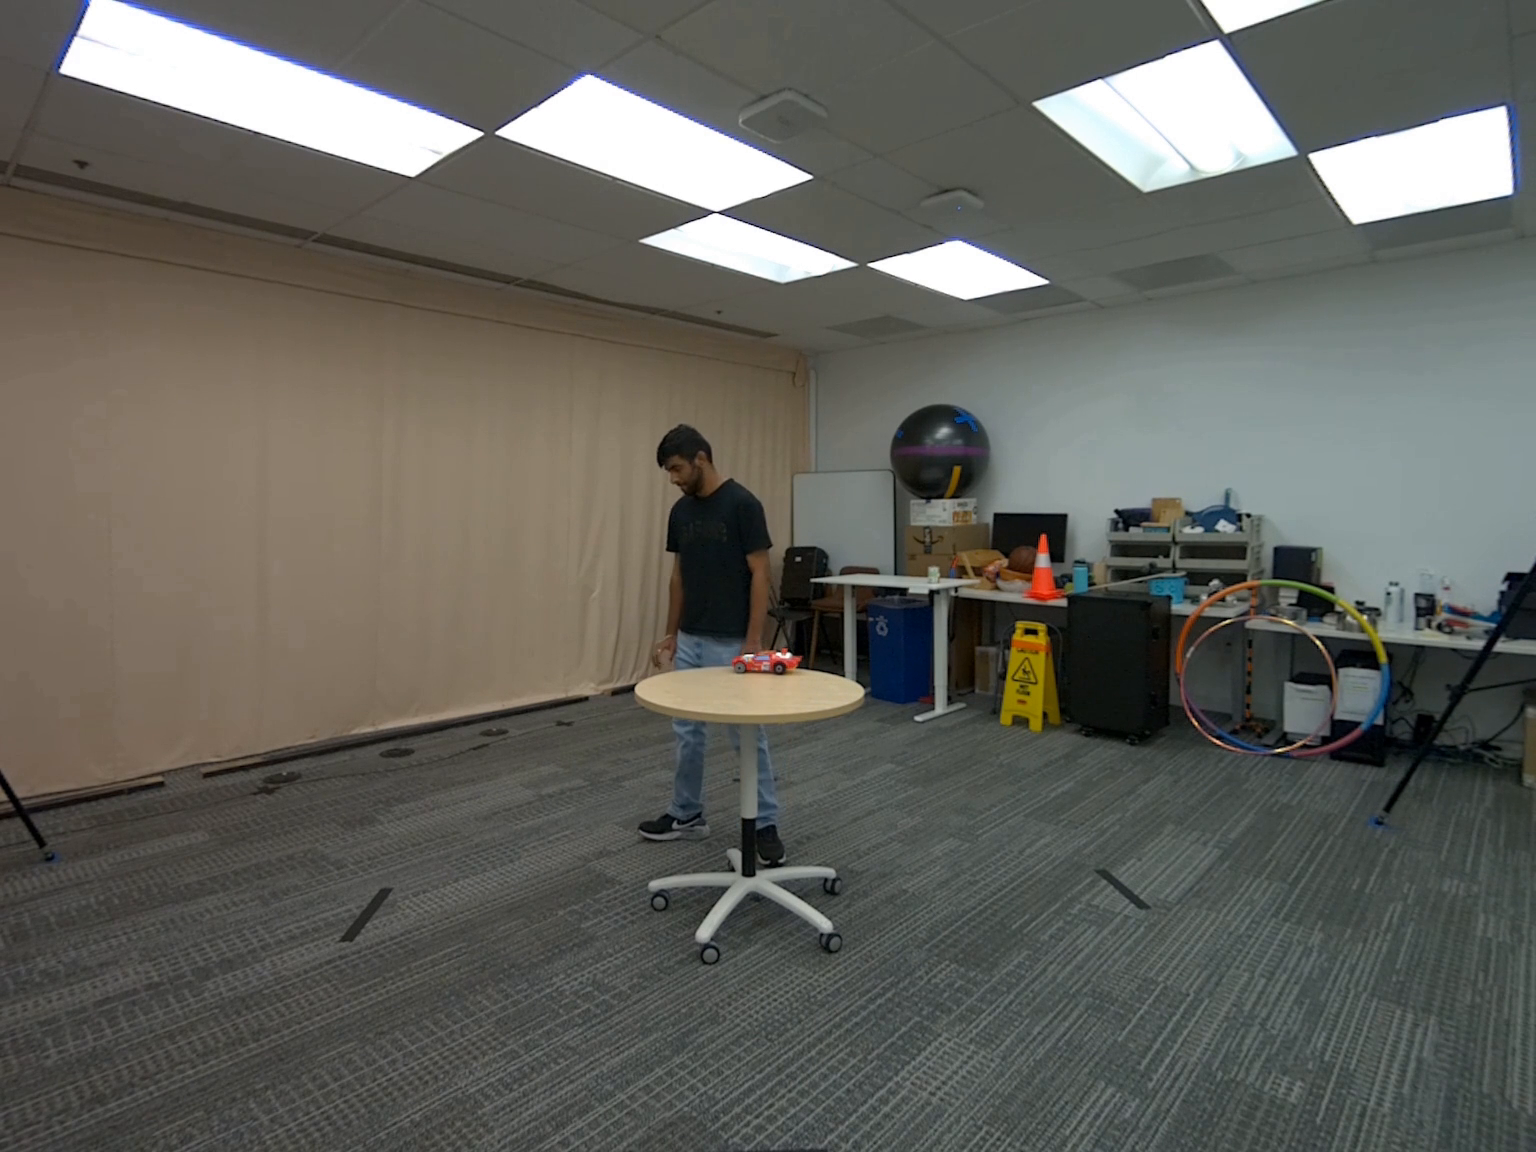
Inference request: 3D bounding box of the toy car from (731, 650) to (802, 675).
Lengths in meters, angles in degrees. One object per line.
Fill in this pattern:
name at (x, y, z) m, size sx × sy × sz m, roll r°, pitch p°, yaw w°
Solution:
toy car at (0.002, 0.320, 3.095) m, size 0.257 × 0.083 × 0.129 m, roll -11°, pitch 3°, yaw 12°
